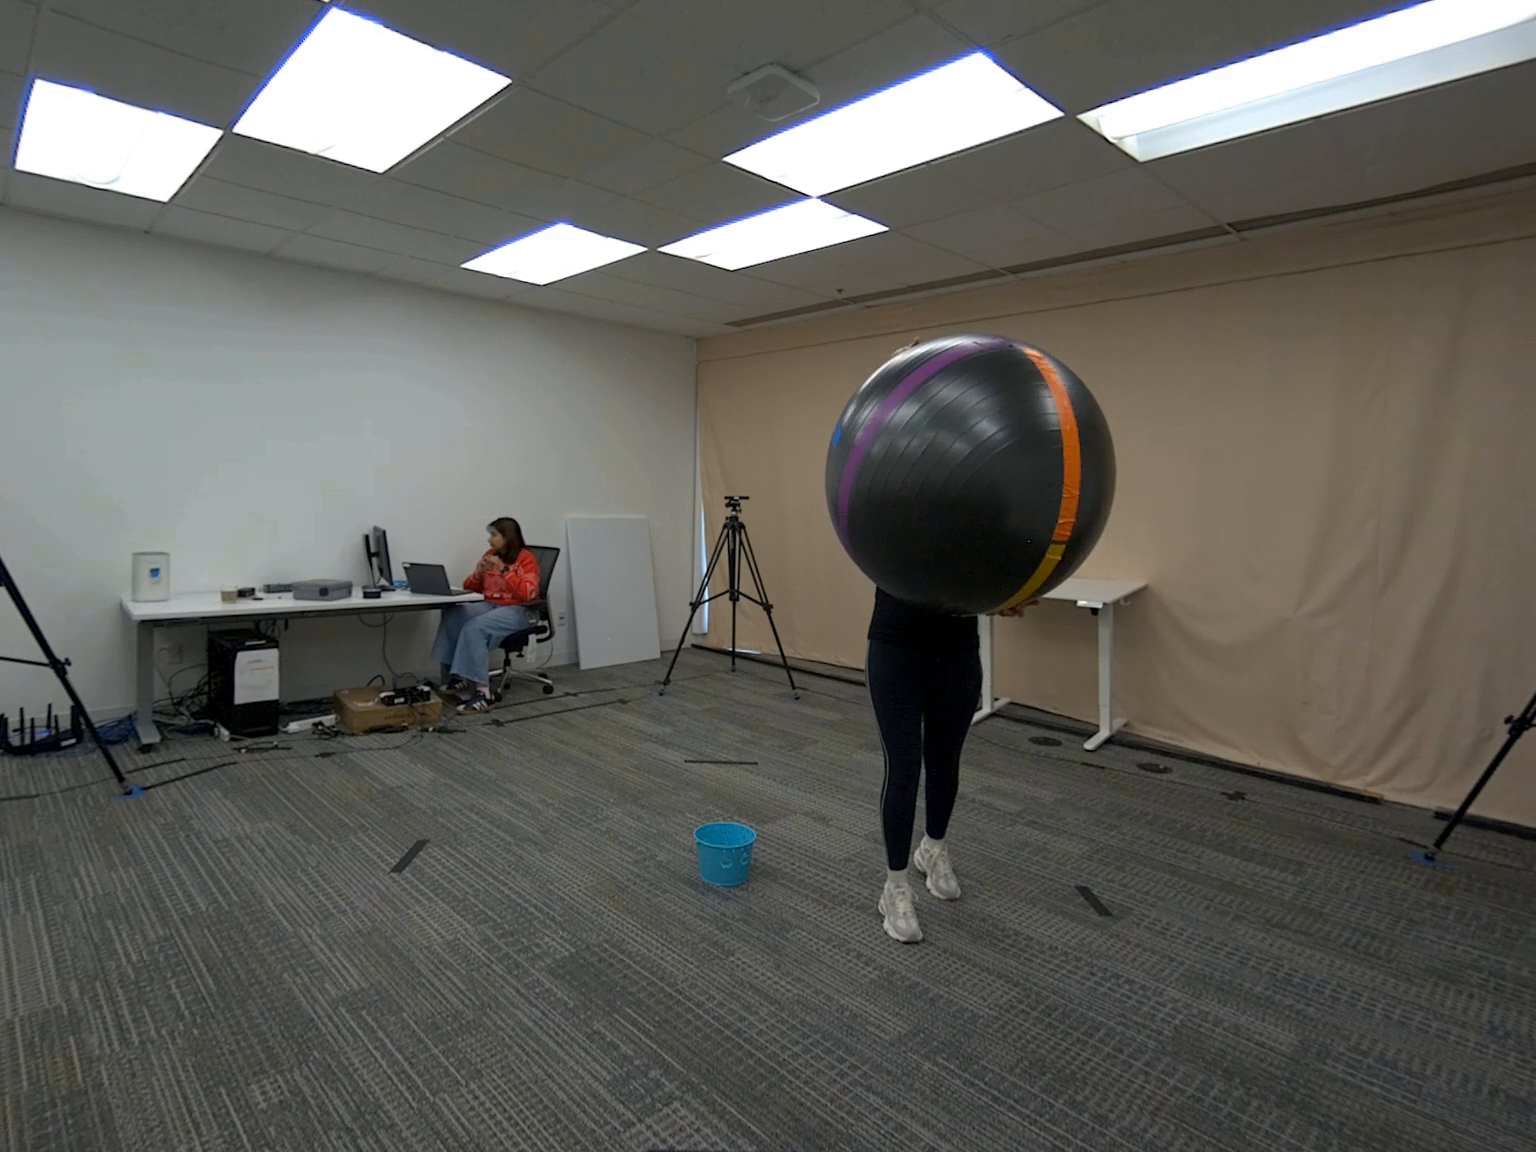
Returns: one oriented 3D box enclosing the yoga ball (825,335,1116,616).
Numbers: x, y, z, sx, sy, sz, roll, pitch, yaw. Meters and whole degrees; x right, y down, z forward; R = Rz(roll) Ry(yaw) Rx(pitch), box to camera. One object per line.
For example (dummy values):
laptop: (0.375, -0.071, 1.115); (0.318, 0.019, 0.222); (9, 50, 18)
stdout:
yoga ball: (0.539, -0.257, 2.276); (0.757, 0.756, 0.761); (1, 4, -1)
